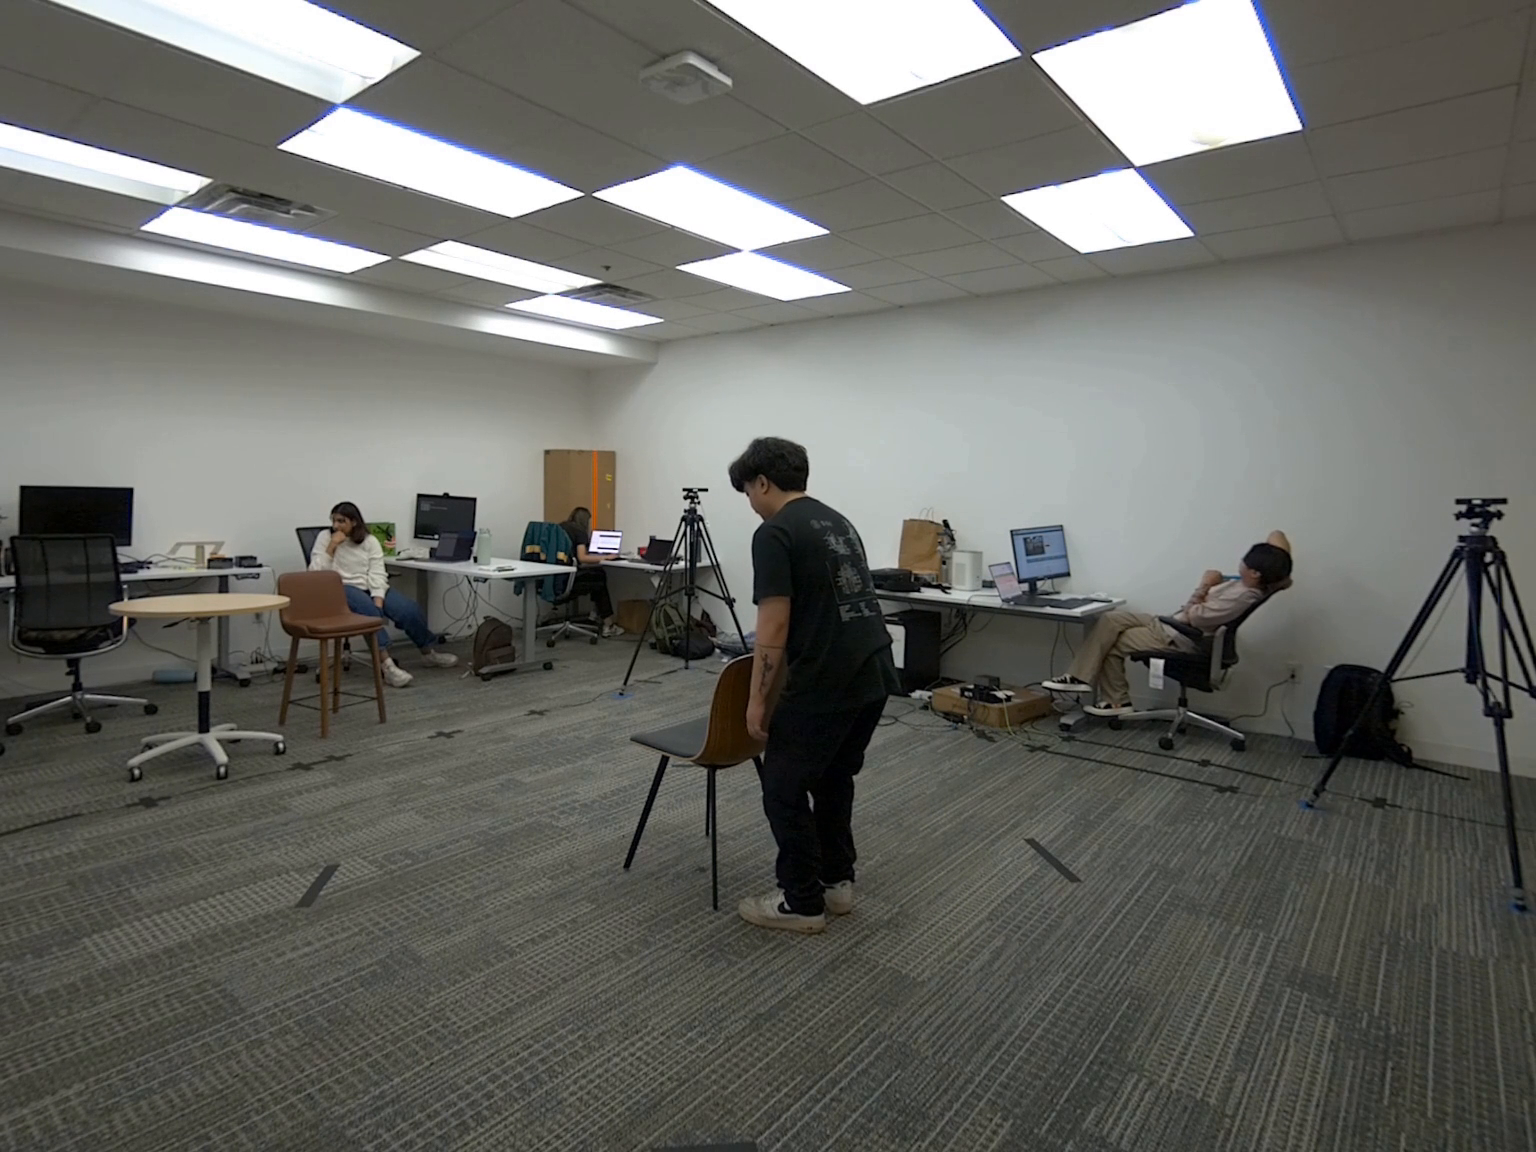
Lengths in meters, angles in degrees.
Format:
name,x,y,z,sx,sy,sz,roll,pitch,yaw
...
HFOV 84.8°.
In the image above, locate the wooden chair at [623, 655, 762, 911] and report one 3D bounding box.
name,x,y,z,sx,sy,sz,roll,pitch,yaw
wooden chair,-0.218,0.645,3.095,0.542,0.873,0.464,10,8,40
